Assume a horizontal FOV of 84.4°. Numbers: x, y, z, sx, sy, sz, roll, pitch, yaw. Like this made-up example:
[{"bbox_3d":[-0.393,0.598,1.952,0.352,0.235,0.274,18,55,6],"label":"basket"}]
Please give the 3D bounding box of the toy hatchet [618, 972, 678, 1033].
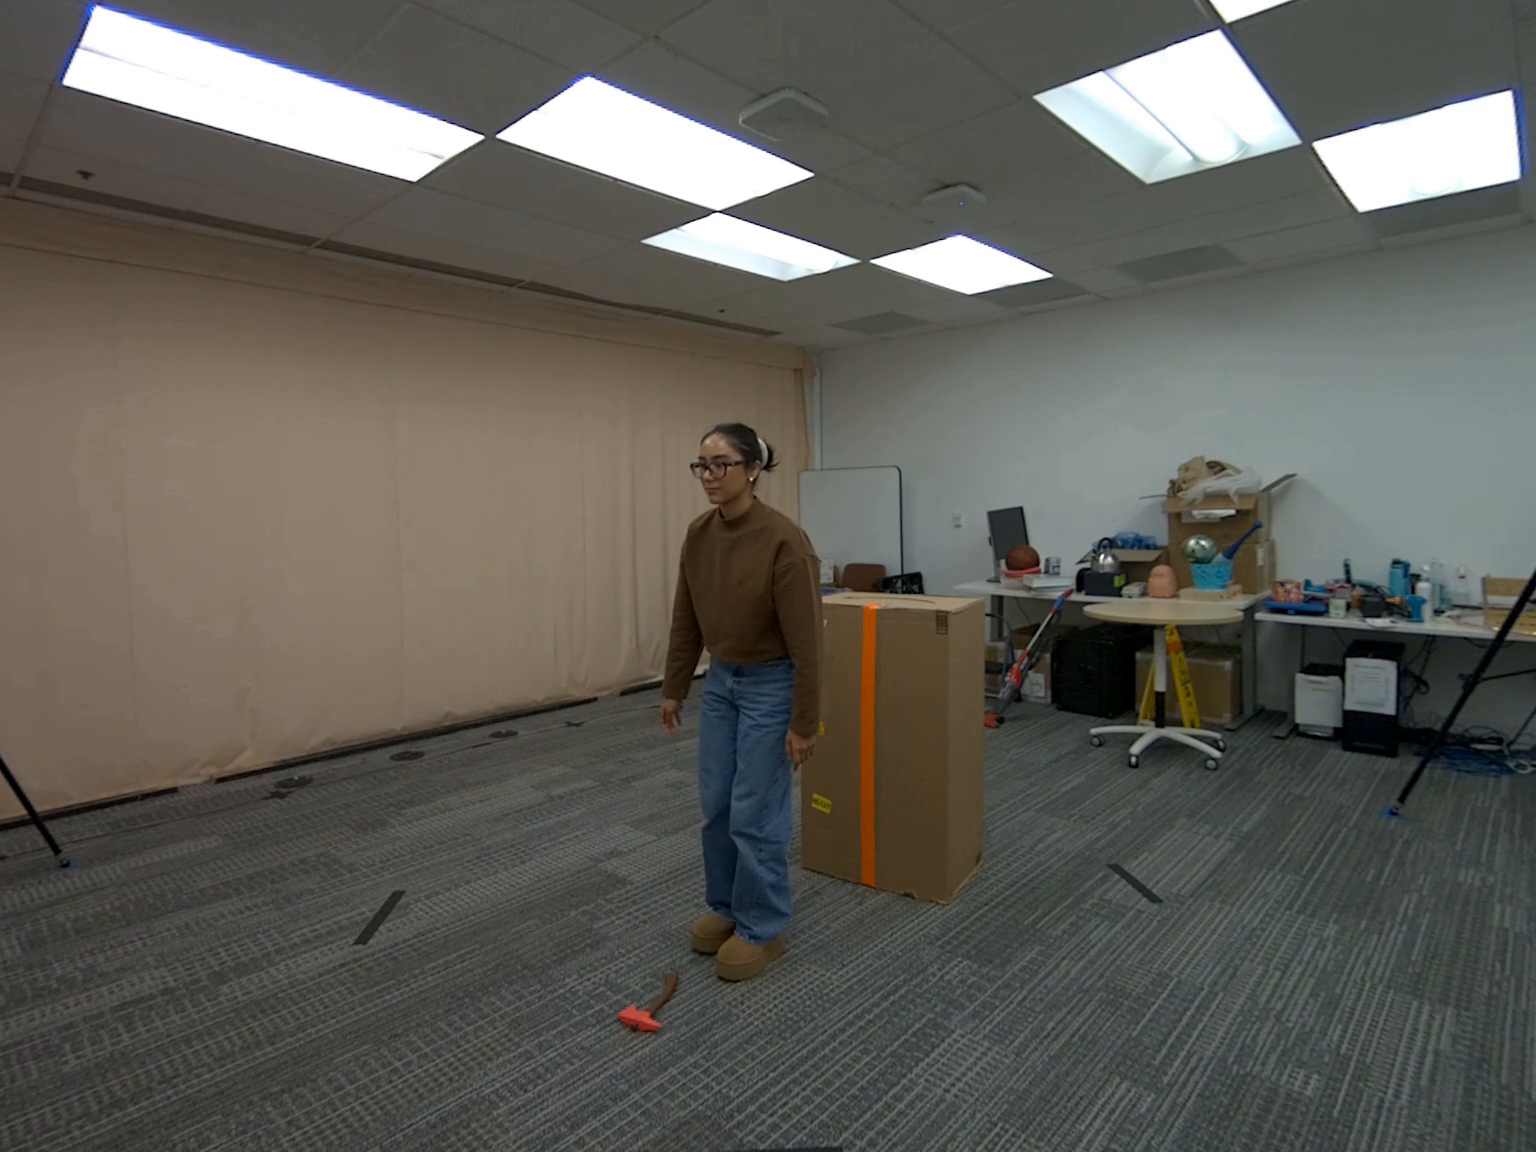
[{"bbox_3d":[-0.337,1.196,2.348,0.132,0.029,0.268,-4,2,8],"label":"toy hatchet"}]
